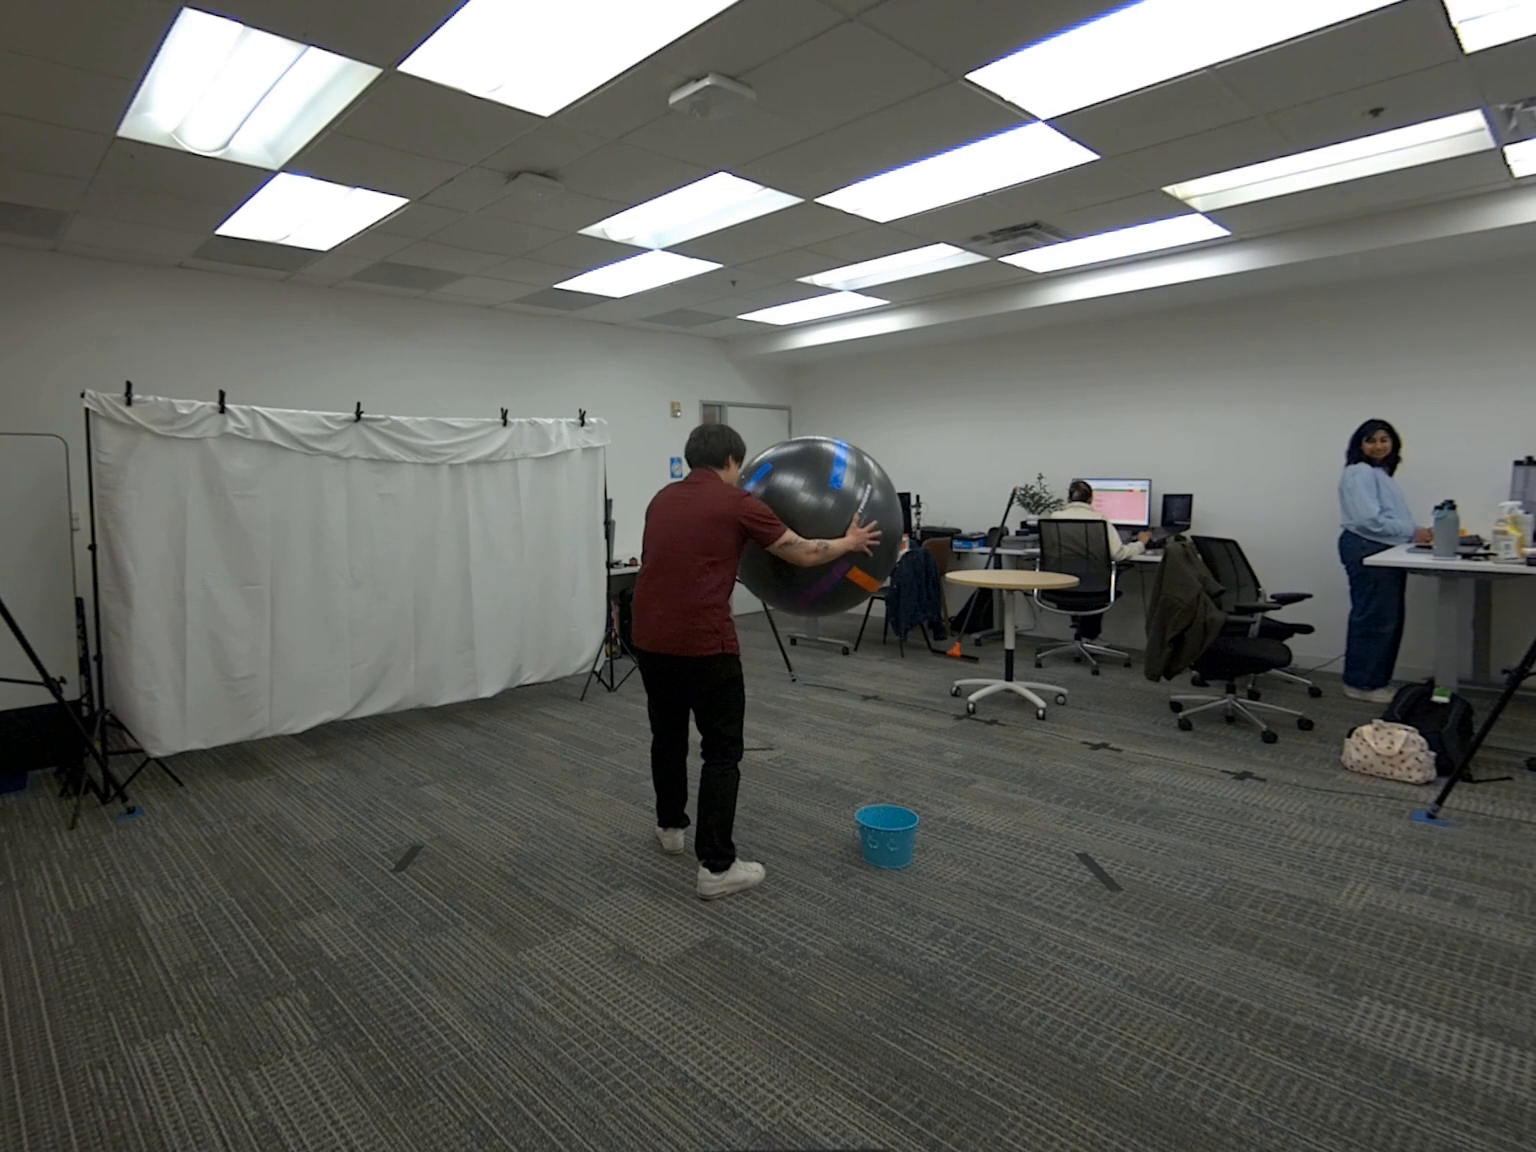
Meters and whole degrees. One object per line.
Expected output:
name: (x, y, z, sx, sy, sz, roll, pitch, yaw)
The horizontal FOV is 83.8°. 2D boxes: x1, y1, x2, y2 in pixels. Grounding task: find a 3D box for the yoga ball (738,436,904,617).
yoga ball: (0.186, -0.198, 3.595, 0.757, 0.755, 0.762, -1, 5, -2)
